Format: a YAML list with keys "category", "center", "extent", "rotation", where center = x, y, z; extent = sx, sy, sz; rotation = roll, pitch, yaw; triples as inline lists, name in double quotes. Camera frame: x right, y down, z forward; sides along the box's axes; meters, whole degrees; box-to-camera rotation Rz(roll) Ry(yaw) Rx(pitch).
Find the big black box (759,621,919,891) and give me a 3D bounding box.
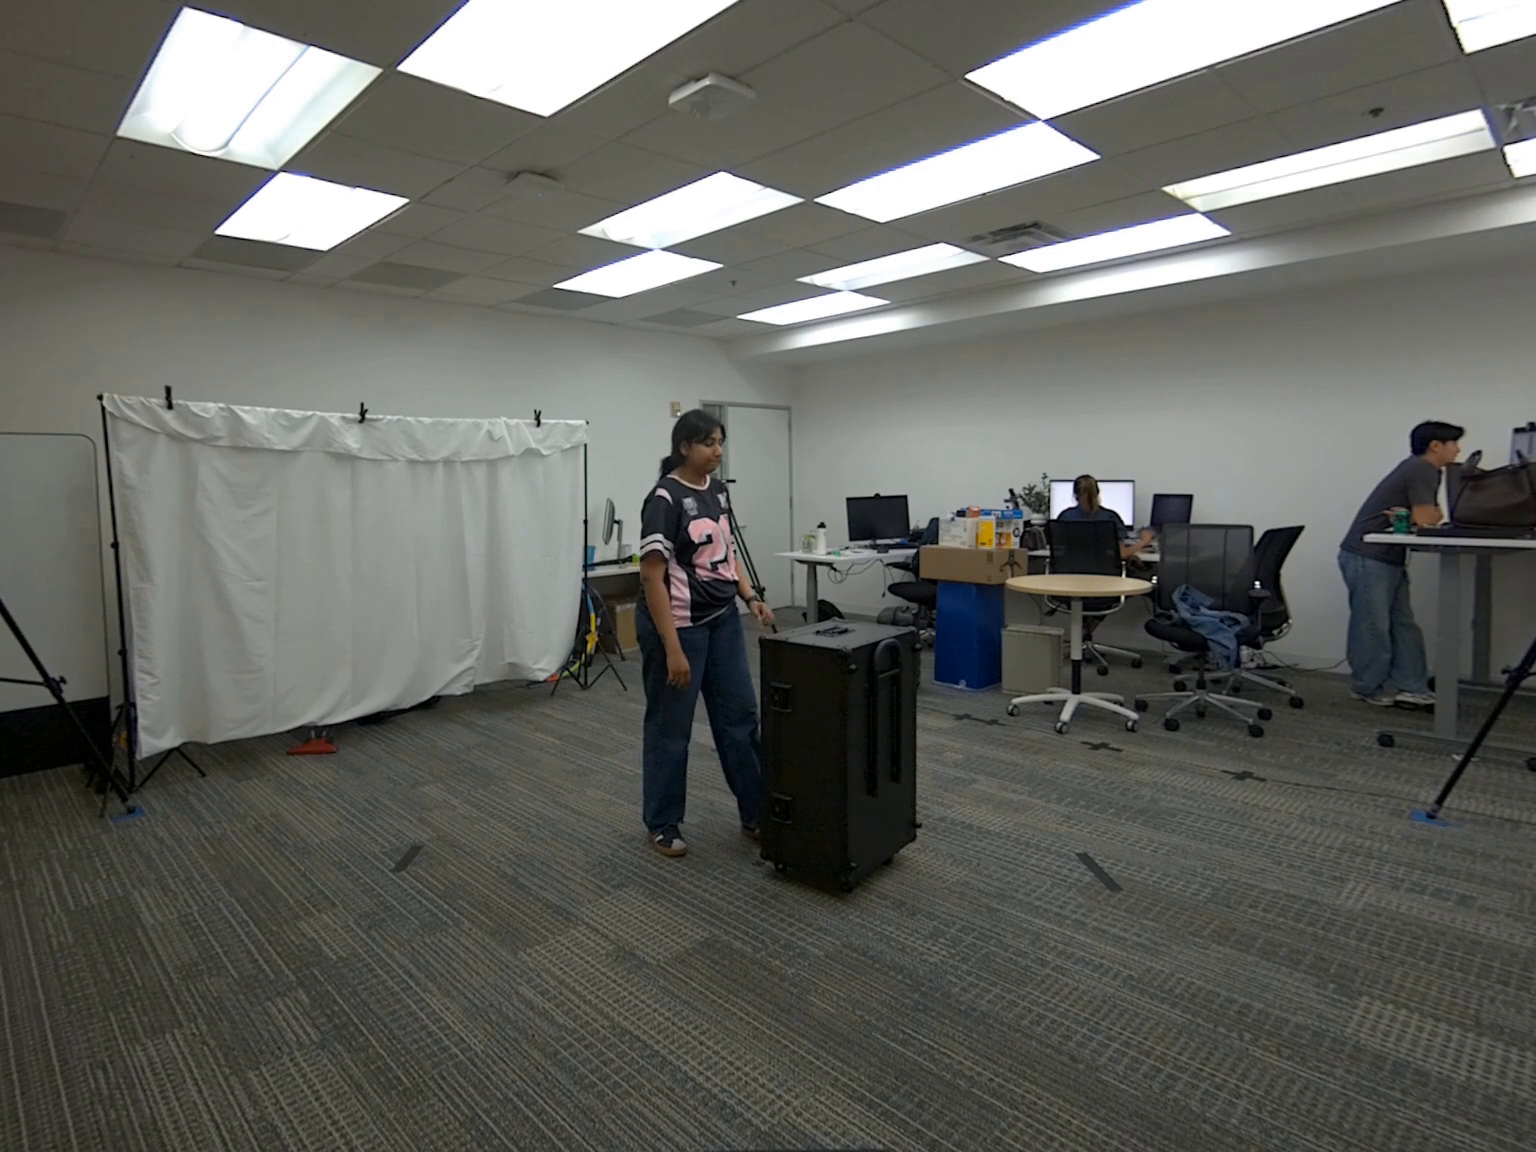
- category: "big black box"
  center: [0.270, 0.627, 3.039]
  extent: [0.397, 0.865, 0.510]
  rotation: [3, 6, 39]
